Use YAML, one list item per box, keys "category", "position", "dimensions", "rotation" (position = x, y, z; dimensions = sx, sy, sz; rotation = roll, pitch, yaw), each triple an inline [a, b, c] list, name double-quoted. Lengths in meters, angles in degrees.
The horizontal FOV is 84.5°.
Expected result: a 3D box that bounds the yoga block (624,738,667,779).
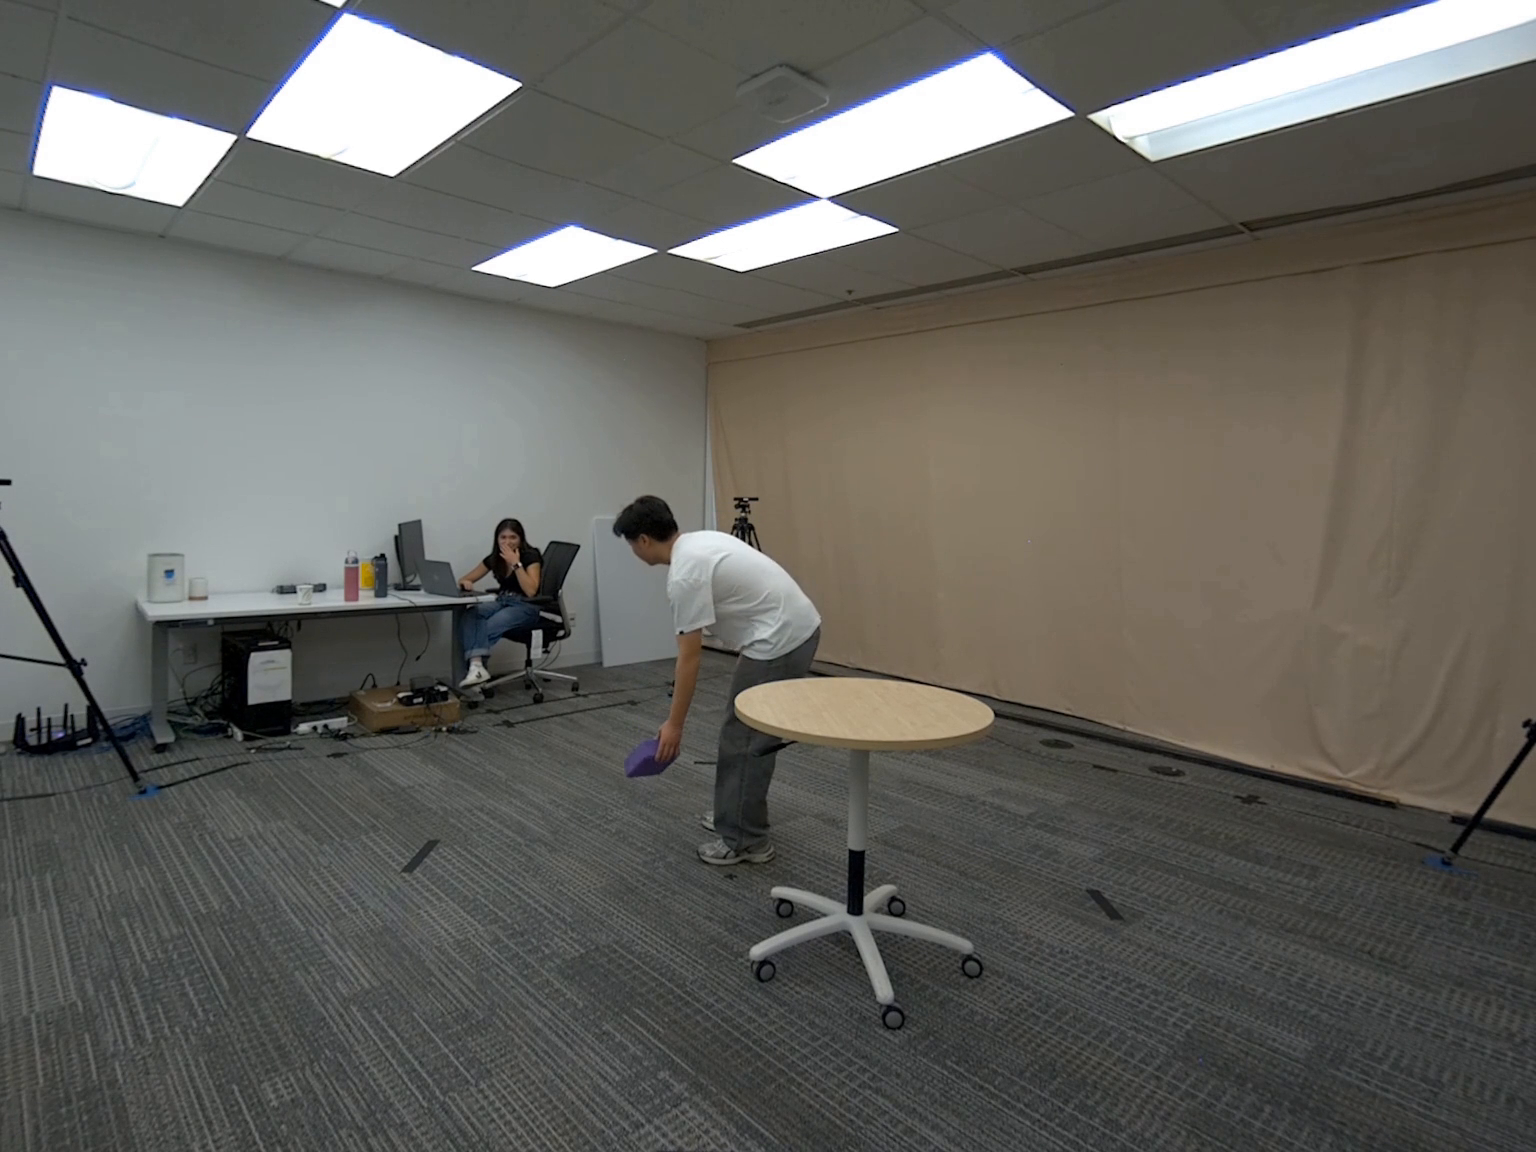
- category: "yoga block"
  position: [-0.459, 0.704, 3.265]
  dimensions: [0.146, 0.078, 0.229]
  rotation: [2, -31, -32]
